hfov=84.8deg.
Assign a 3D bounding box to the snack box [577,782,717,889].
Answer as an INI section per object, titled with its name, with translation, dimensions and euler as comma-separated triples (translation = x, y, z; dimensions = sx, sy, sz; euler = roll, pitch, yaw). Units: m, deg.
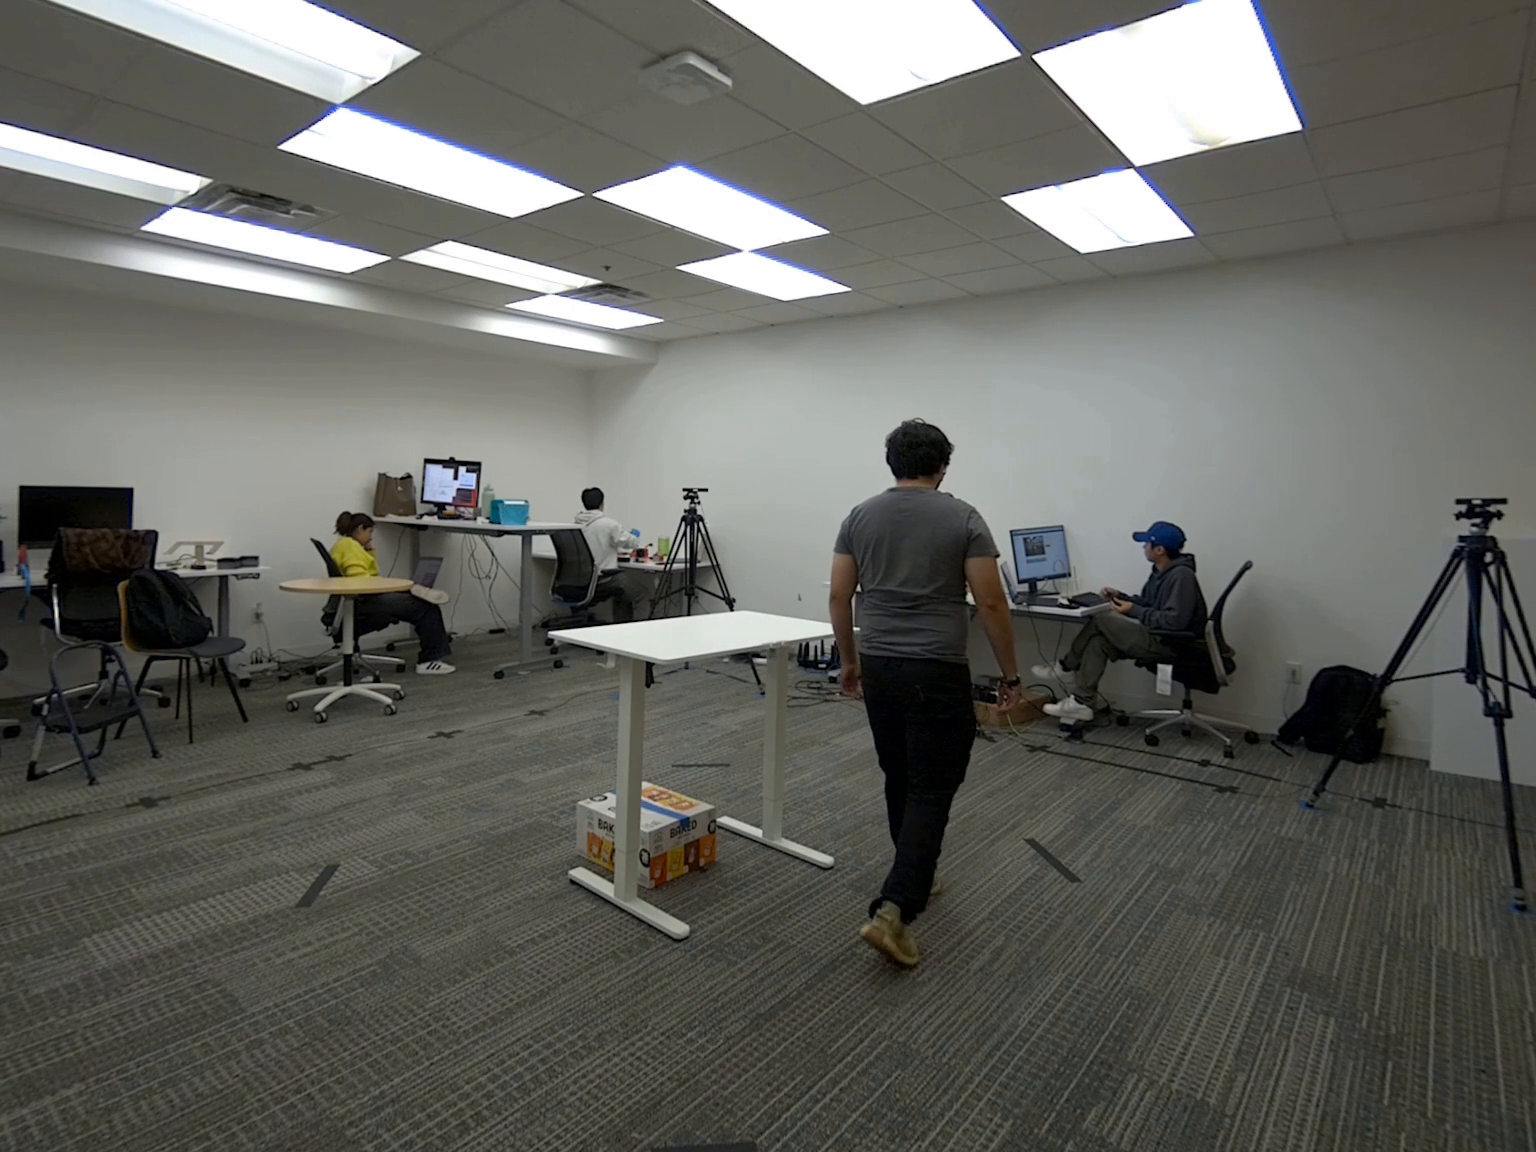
[snack box]
translation = -0.468, 0.958, 3.190
dimensions = 0.419, 0.205, 0.330
euler = 5, 6, 41
